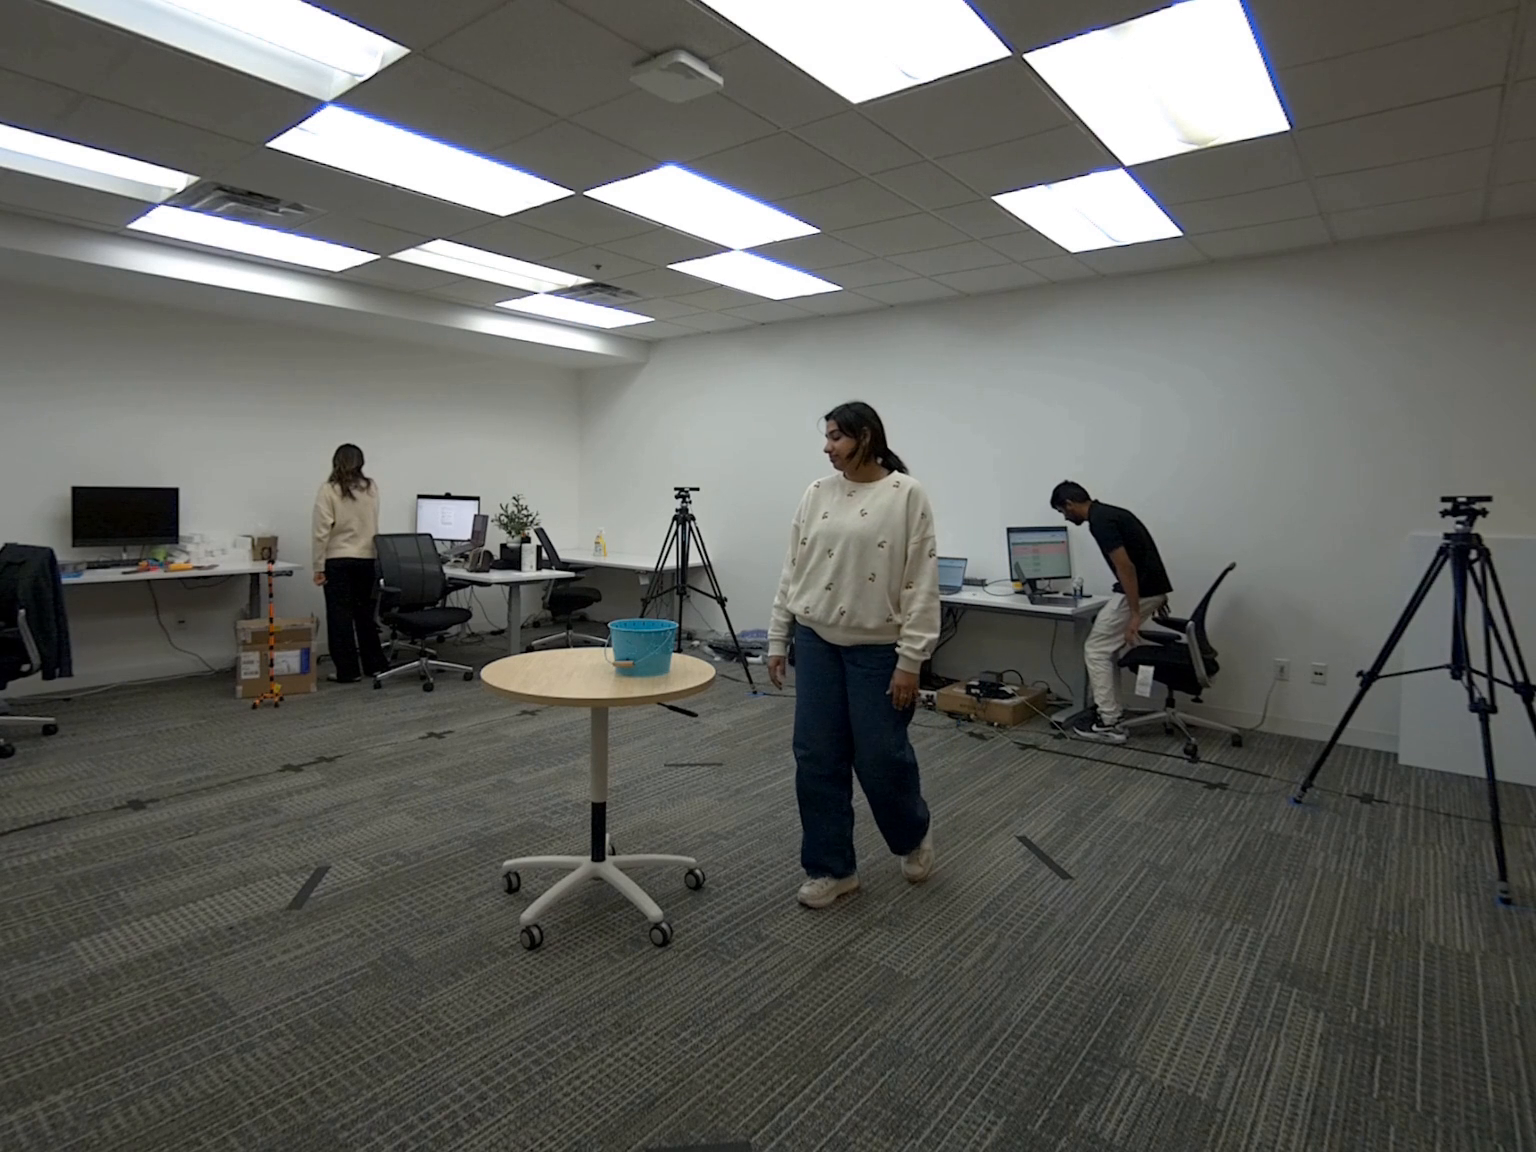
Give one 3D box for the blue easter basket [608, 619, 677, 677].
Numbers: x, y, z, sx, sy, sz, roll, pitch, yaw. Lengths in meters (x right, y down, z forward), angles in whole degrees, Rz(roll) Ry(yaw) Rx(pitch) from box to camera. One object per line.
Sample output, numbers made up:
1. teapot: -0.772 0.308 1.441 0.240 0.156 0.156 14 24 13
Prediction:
1. blue easter basket: -0.430 0.240 2.810 0.243 0.155 0.245 2 5 -2
